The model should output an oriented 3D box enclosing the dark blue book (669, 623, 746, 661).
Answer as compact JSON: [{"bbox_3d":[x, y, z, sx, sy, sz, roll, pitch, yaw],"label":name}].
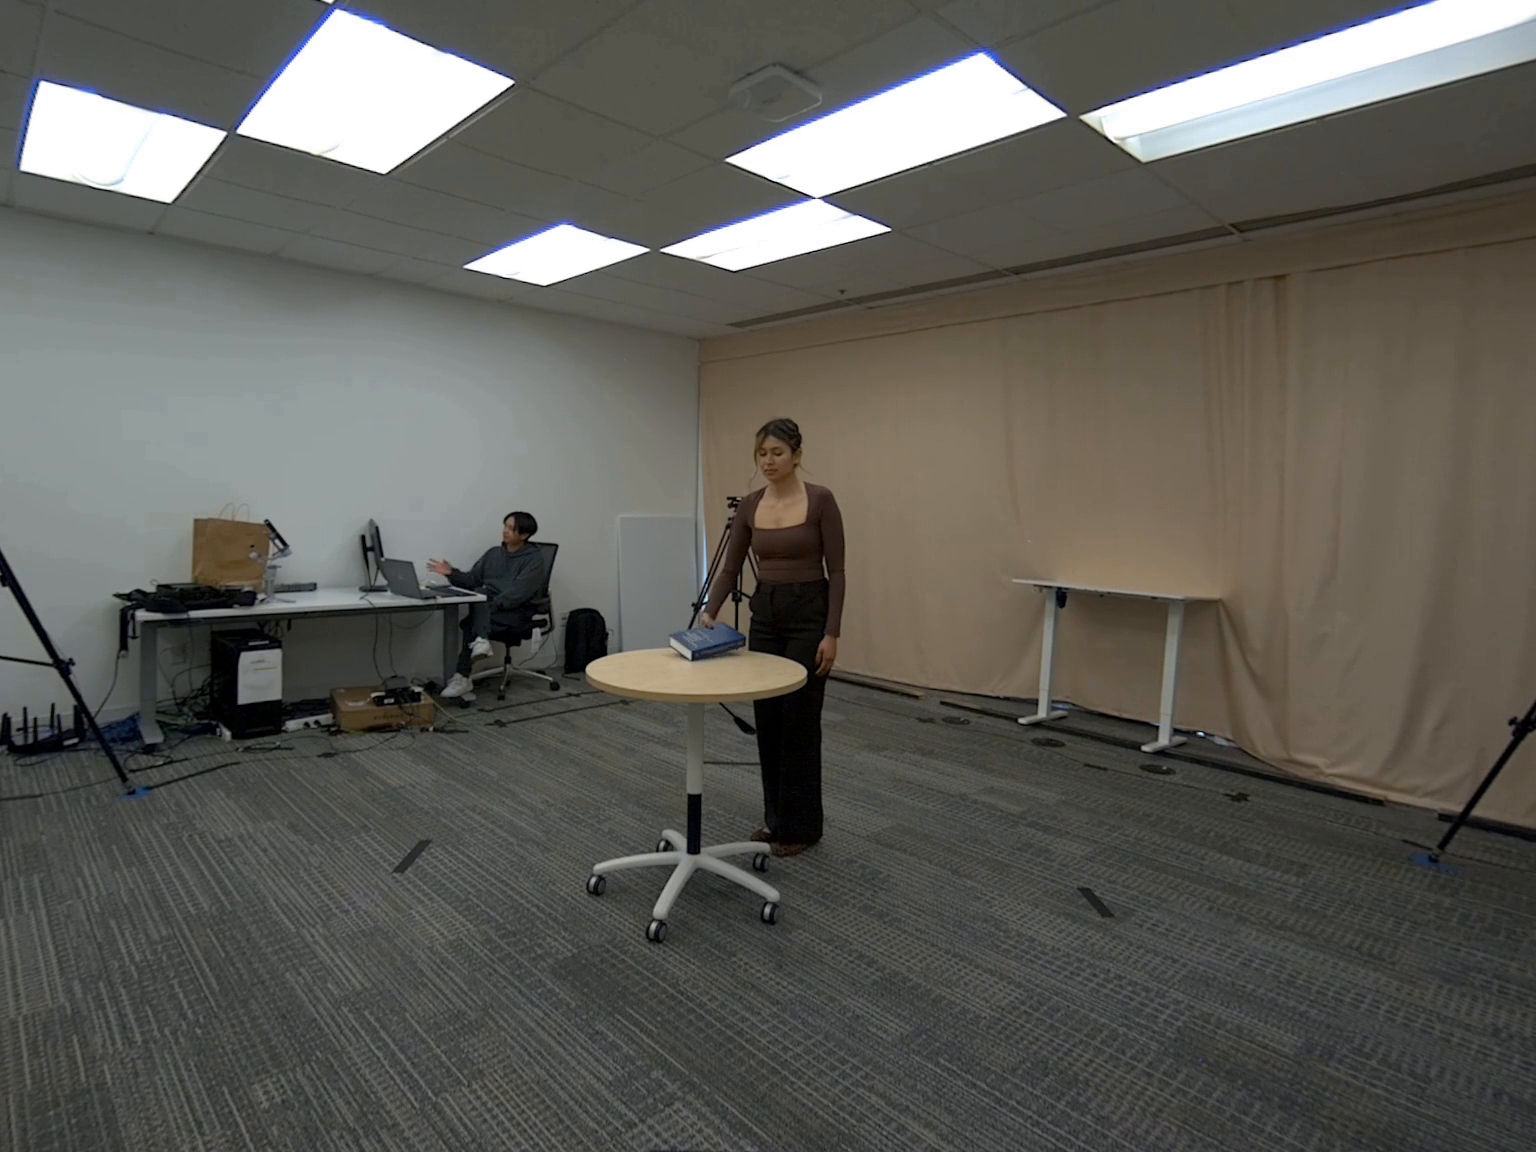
[{"bbox_3d":[-0.239,0.240,3.154,0.241,0.044,0.168,-11,23,-33],"label":"dark blue book"}]
